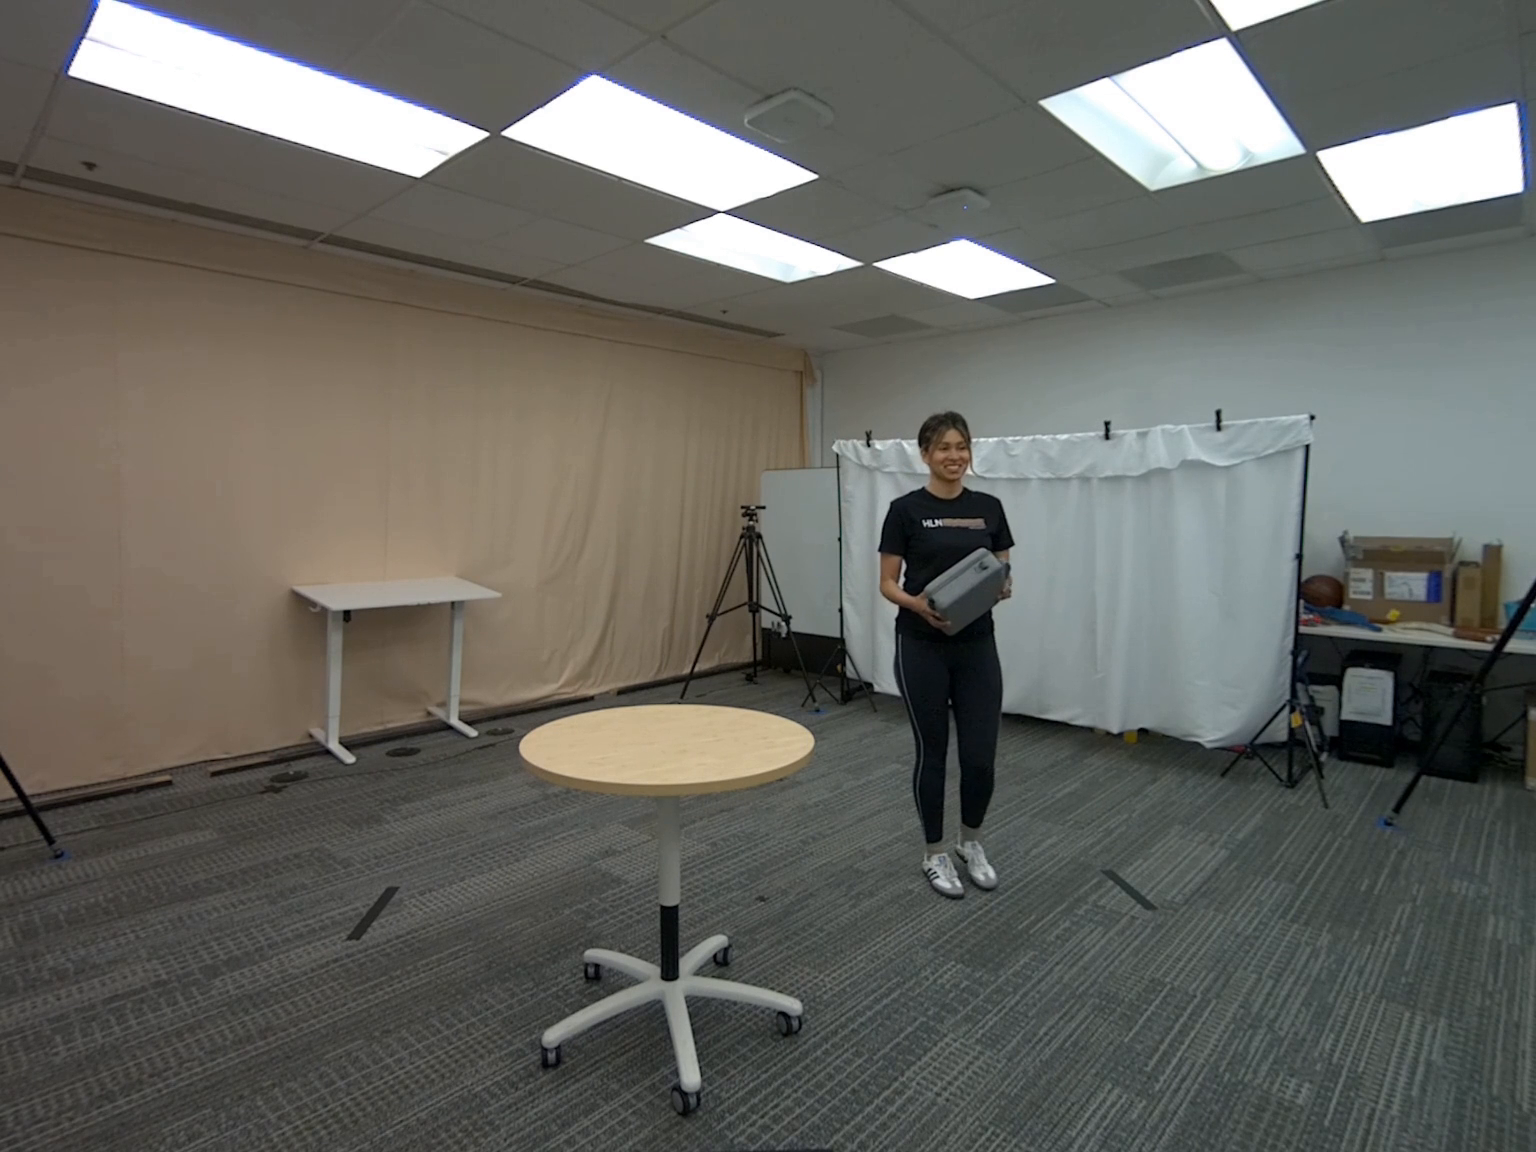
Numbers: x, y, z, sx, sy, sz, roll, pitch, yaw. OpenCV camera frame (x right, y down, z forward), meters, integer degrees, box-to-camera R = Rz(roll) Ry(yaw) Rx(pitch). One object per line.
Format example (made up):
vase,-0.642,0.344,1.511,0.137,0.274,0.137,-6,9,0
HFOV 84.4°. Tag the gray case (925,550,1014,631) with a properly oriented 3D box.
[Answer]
gray case,0.646,0.051,2.764,0.261,0.108,0.248,-37,-34,2
